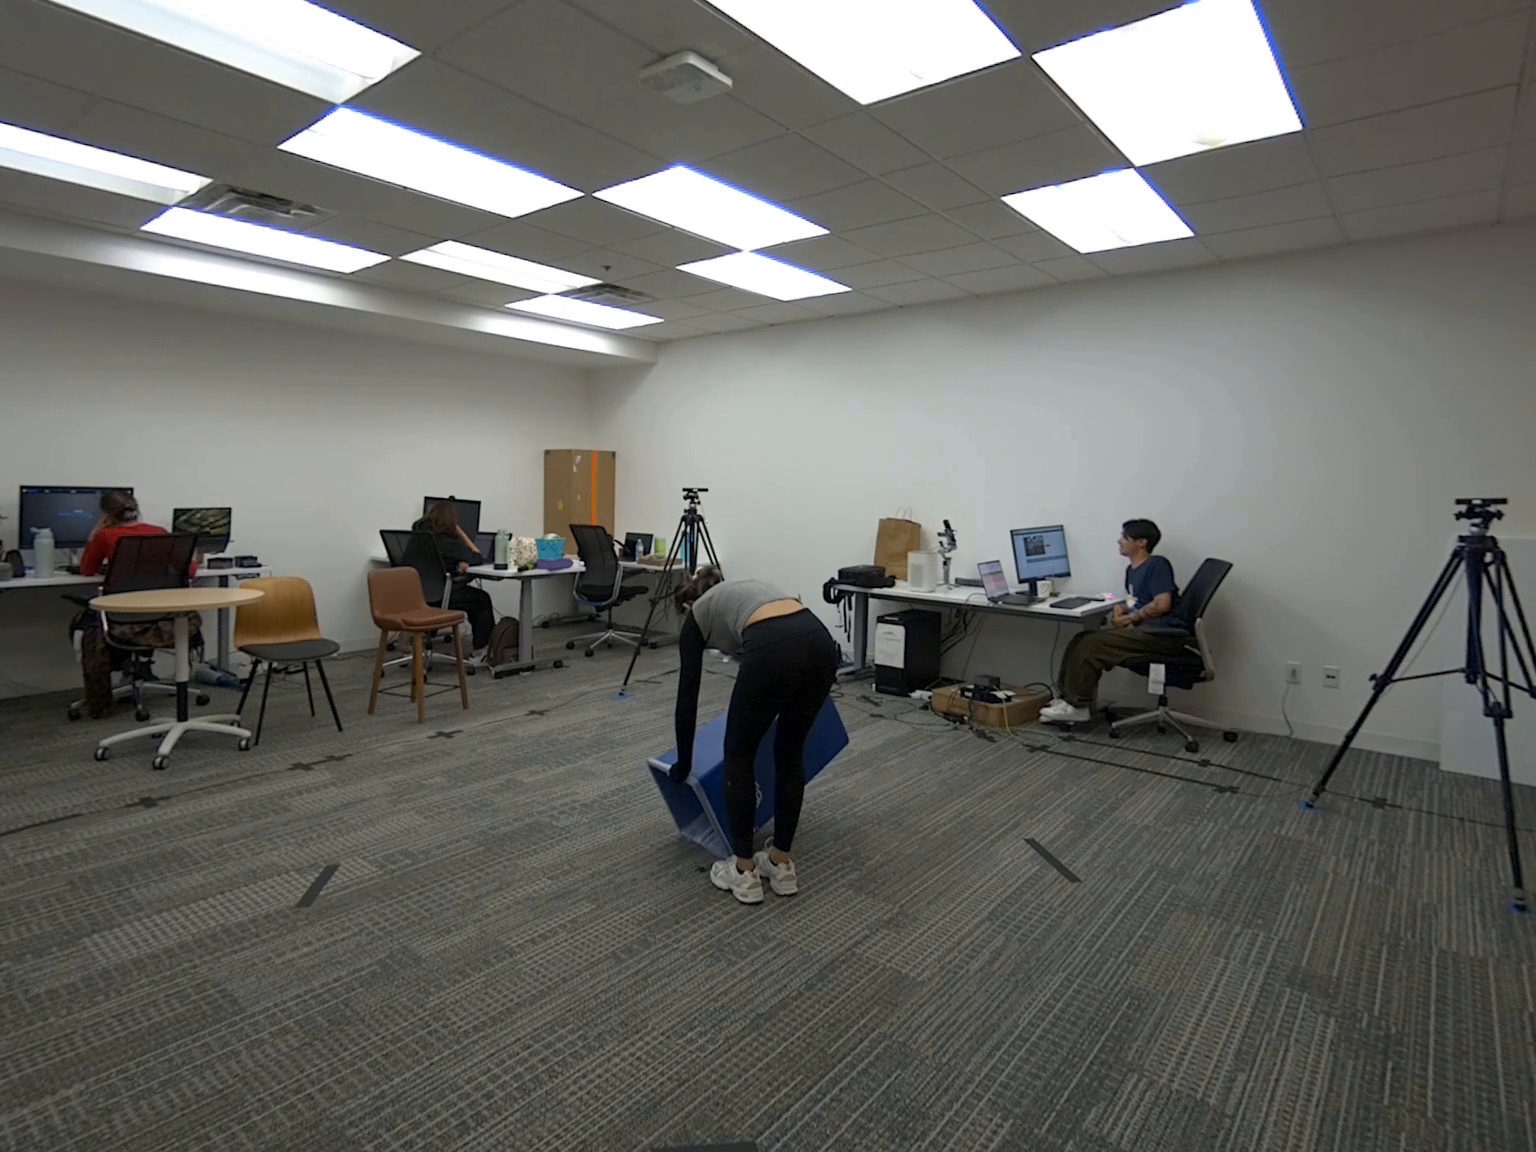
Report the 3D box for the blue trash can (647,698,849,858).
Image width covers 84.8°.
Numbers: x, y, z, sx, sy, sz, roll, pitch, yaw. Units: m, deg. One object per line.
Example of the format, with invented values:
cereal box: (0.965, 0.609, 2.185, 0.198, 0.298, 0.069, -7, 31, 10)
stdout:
blue trash can: (-0.069, 0.716, 3.414, 0.707, 0.367, 0.389, -34, 18, -30)
